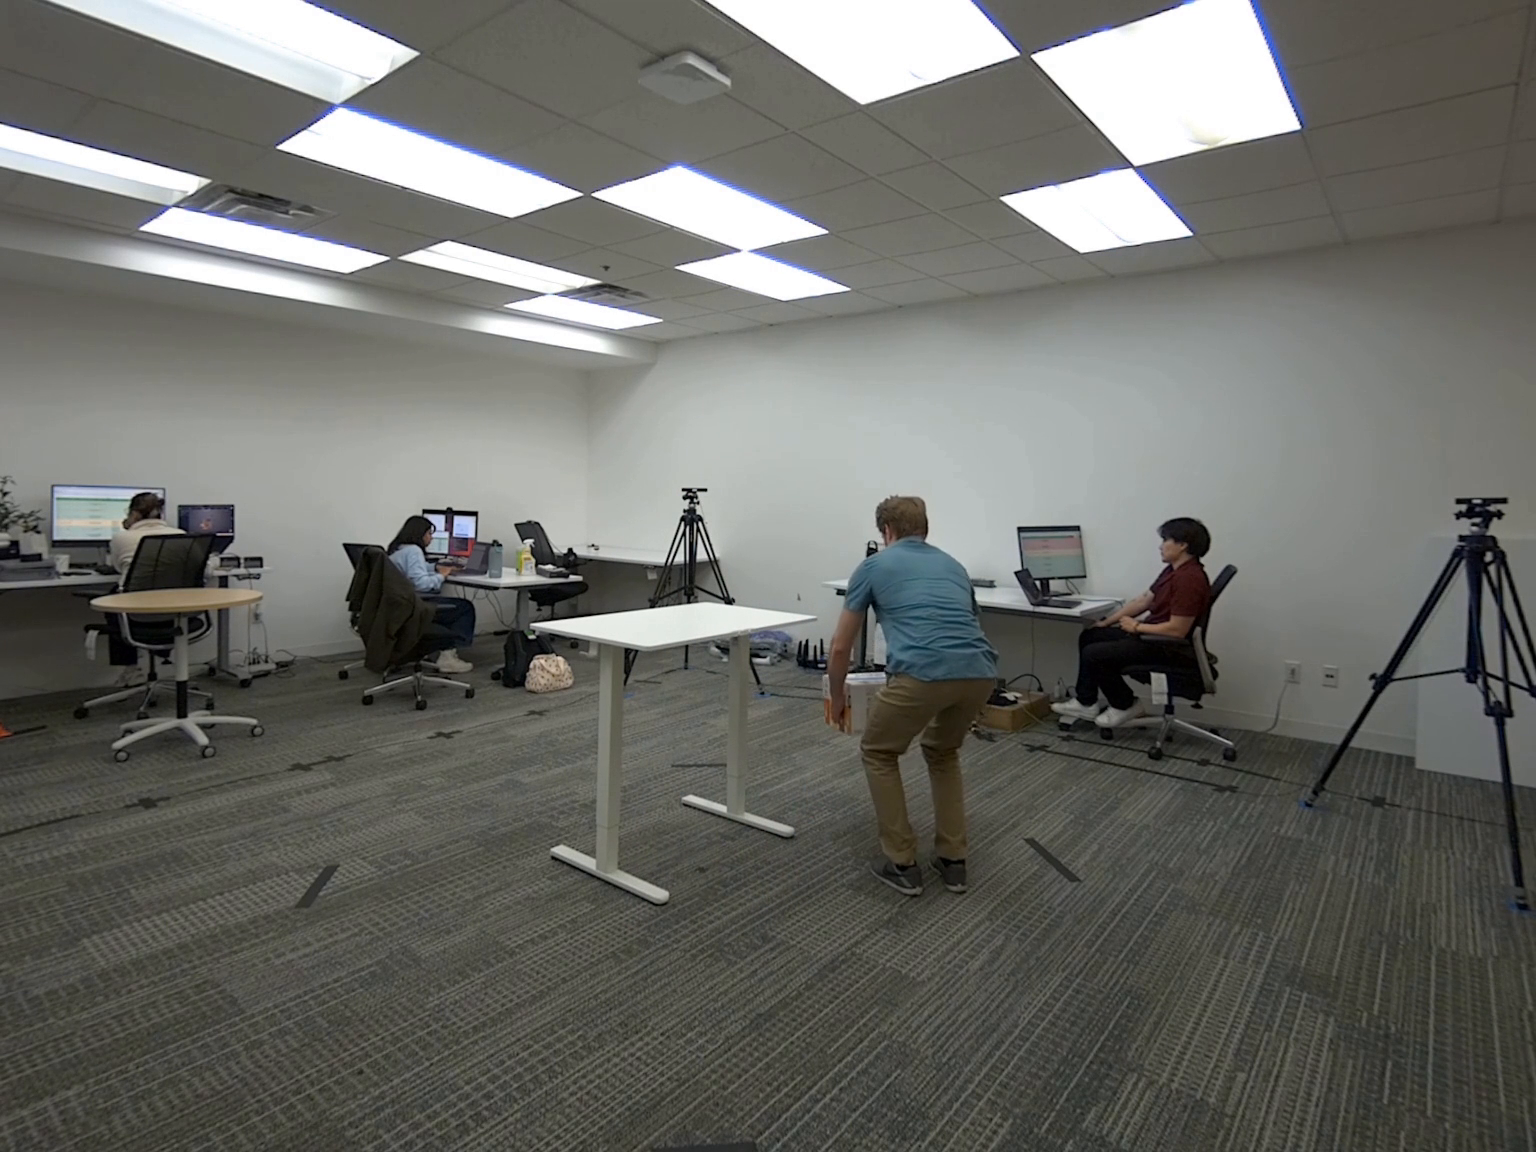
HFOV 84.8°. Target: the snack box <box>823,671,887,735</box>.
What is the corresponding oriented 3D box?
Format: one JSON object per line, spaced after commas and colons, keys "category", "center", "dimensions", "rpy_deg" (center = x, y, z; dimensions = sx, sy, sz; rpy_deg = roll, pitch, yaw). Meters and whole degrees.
{"category": "snack box", "center": [0.467, 0.522, 3.511], "dimensions": [0.399, 0.206, 0.345], "rpy_deg": [-1, 0, -14]}
